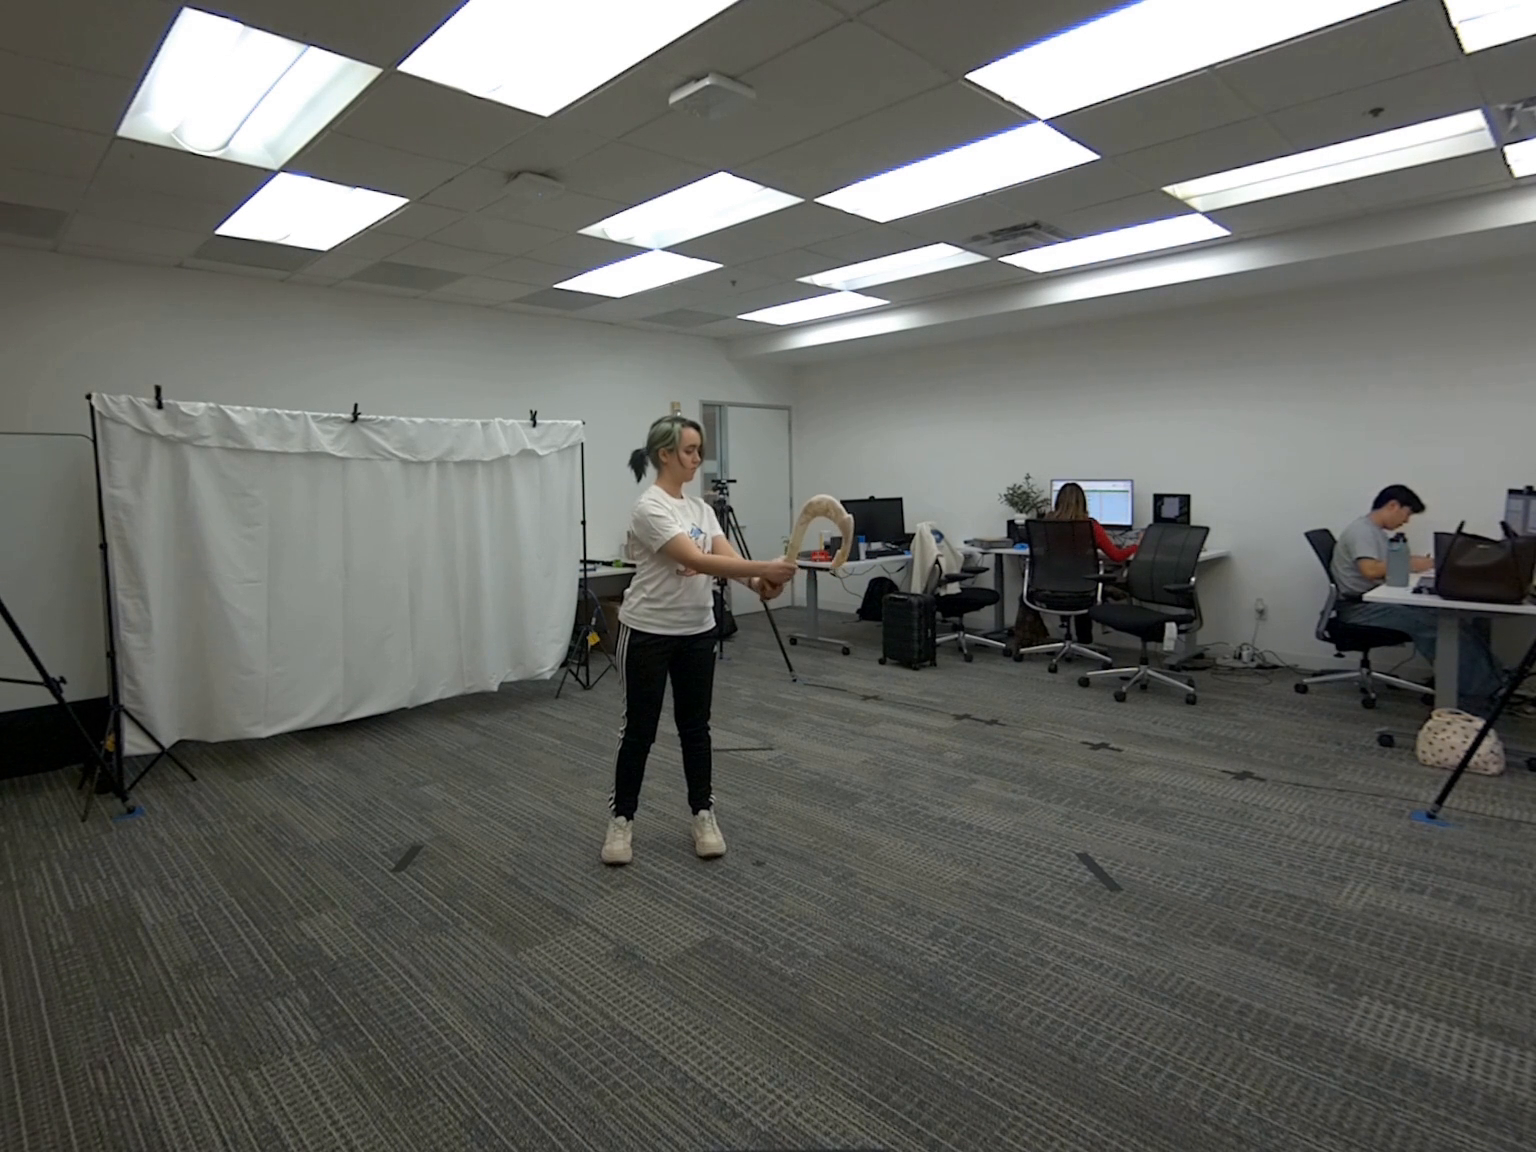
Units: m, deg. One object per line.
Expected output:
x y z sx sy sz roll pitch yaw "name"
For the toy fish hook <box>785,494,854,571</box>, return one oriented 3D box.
0.122 -0.039 2.827 0.047 0.232 0.502 -11 -35 -43 "toy fish hook"
